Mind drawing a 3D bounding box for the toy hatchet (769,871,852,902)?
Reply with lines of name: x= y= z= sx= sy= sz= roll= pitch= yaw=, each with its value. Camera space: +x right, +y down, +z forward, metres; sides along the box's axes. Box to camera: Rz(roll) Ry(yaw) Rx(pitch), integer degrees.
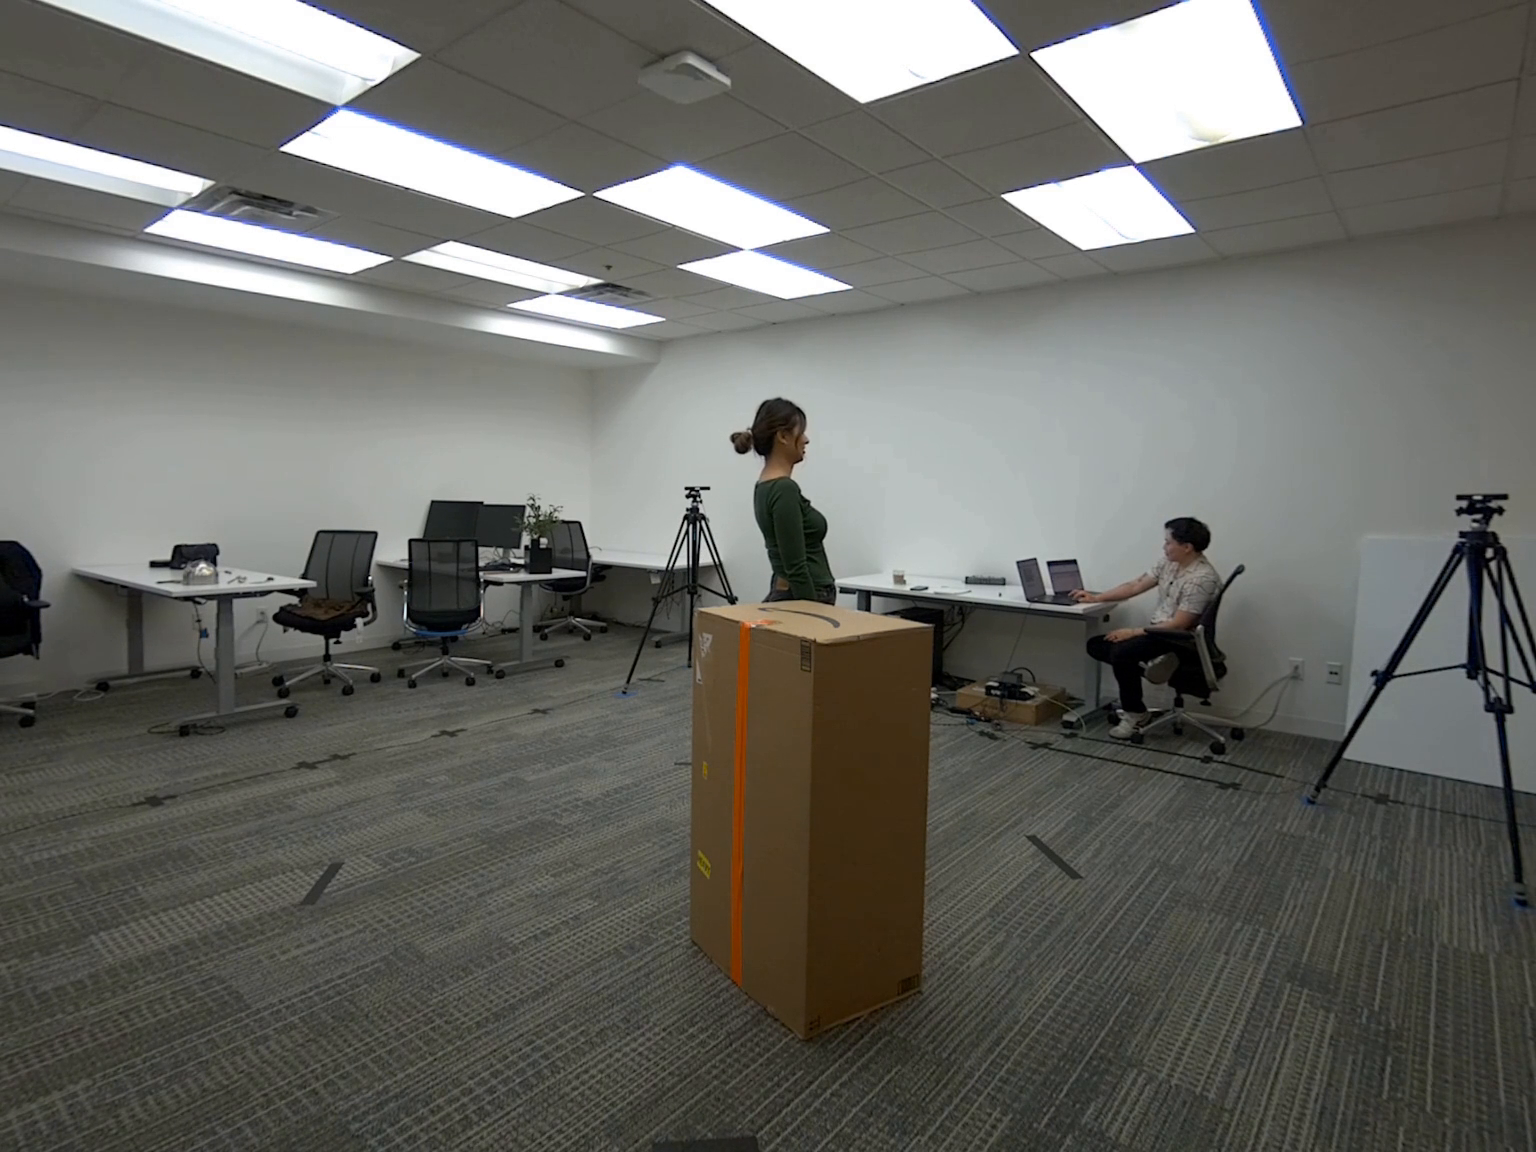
toy hatchet: x=0.144 y=1.076 z=2.923 sx=0.270 sy=0.029 sz=0.132 roll=-3 pitch=8 yaw=0
